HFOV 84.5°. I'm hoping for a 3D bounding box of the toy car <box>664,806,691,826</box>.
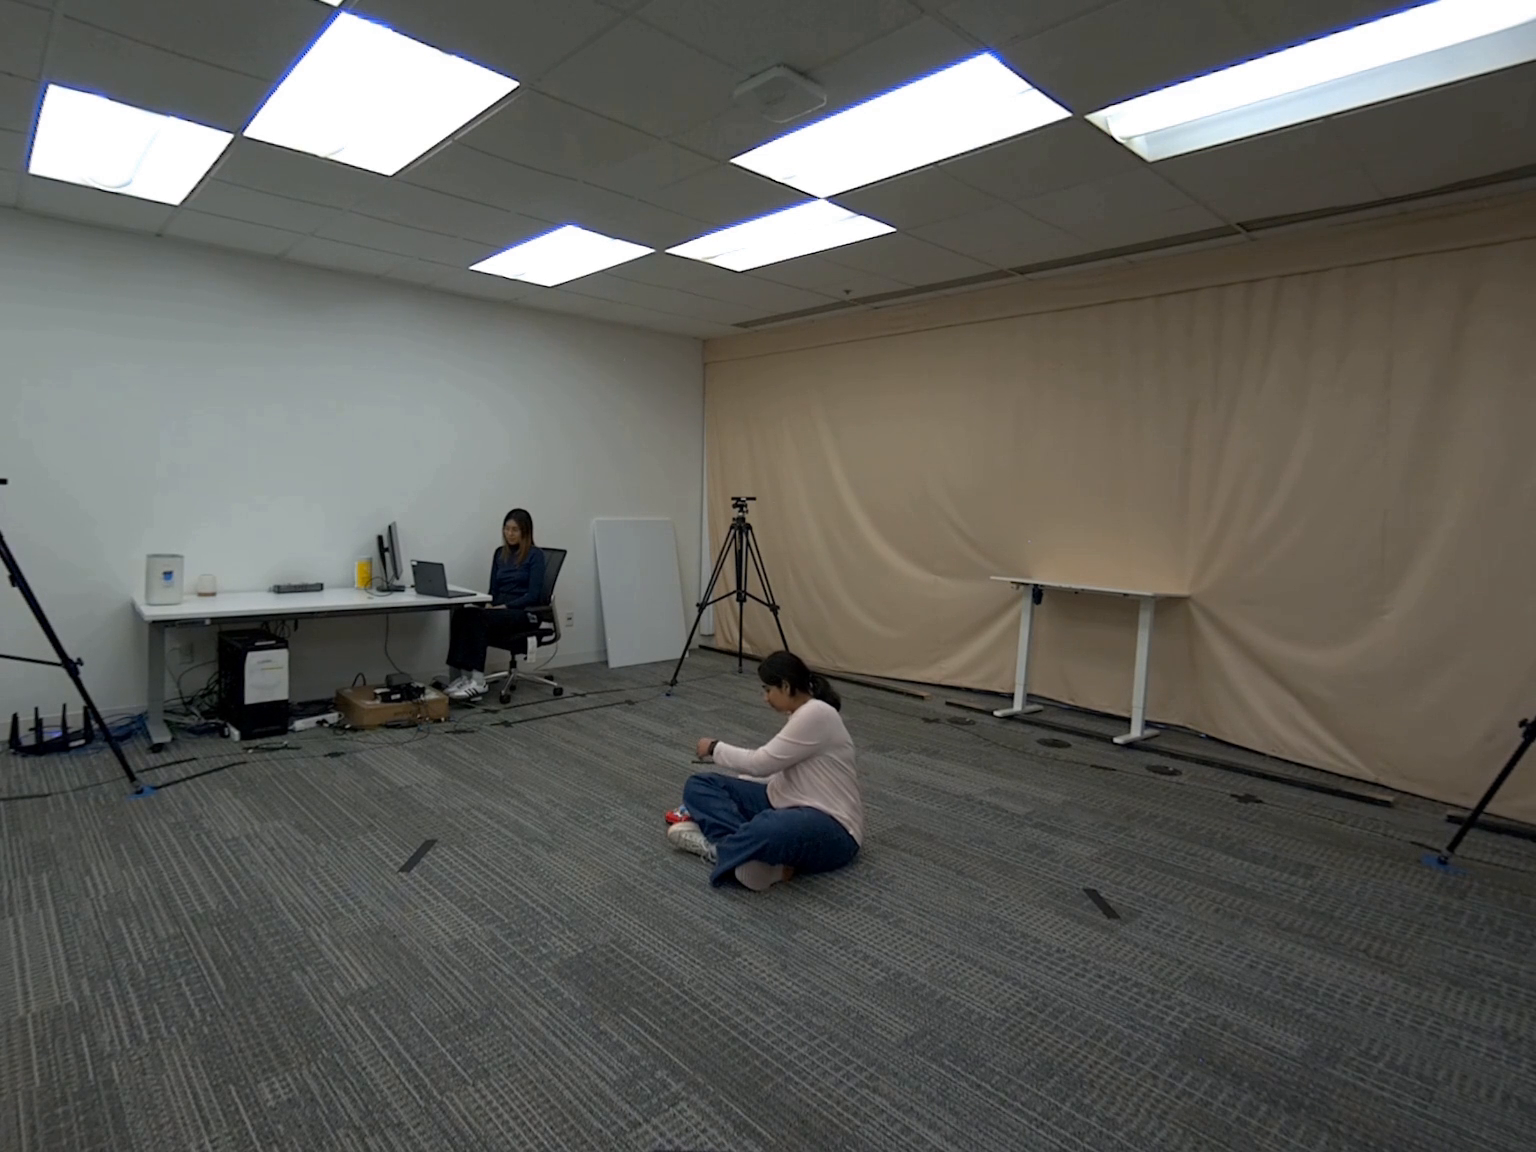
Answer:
[{"bbox_3d":[-0.323,1.014,3.639,0.133,0.082,0.251,3,16,39],"label":"toy car"}]
